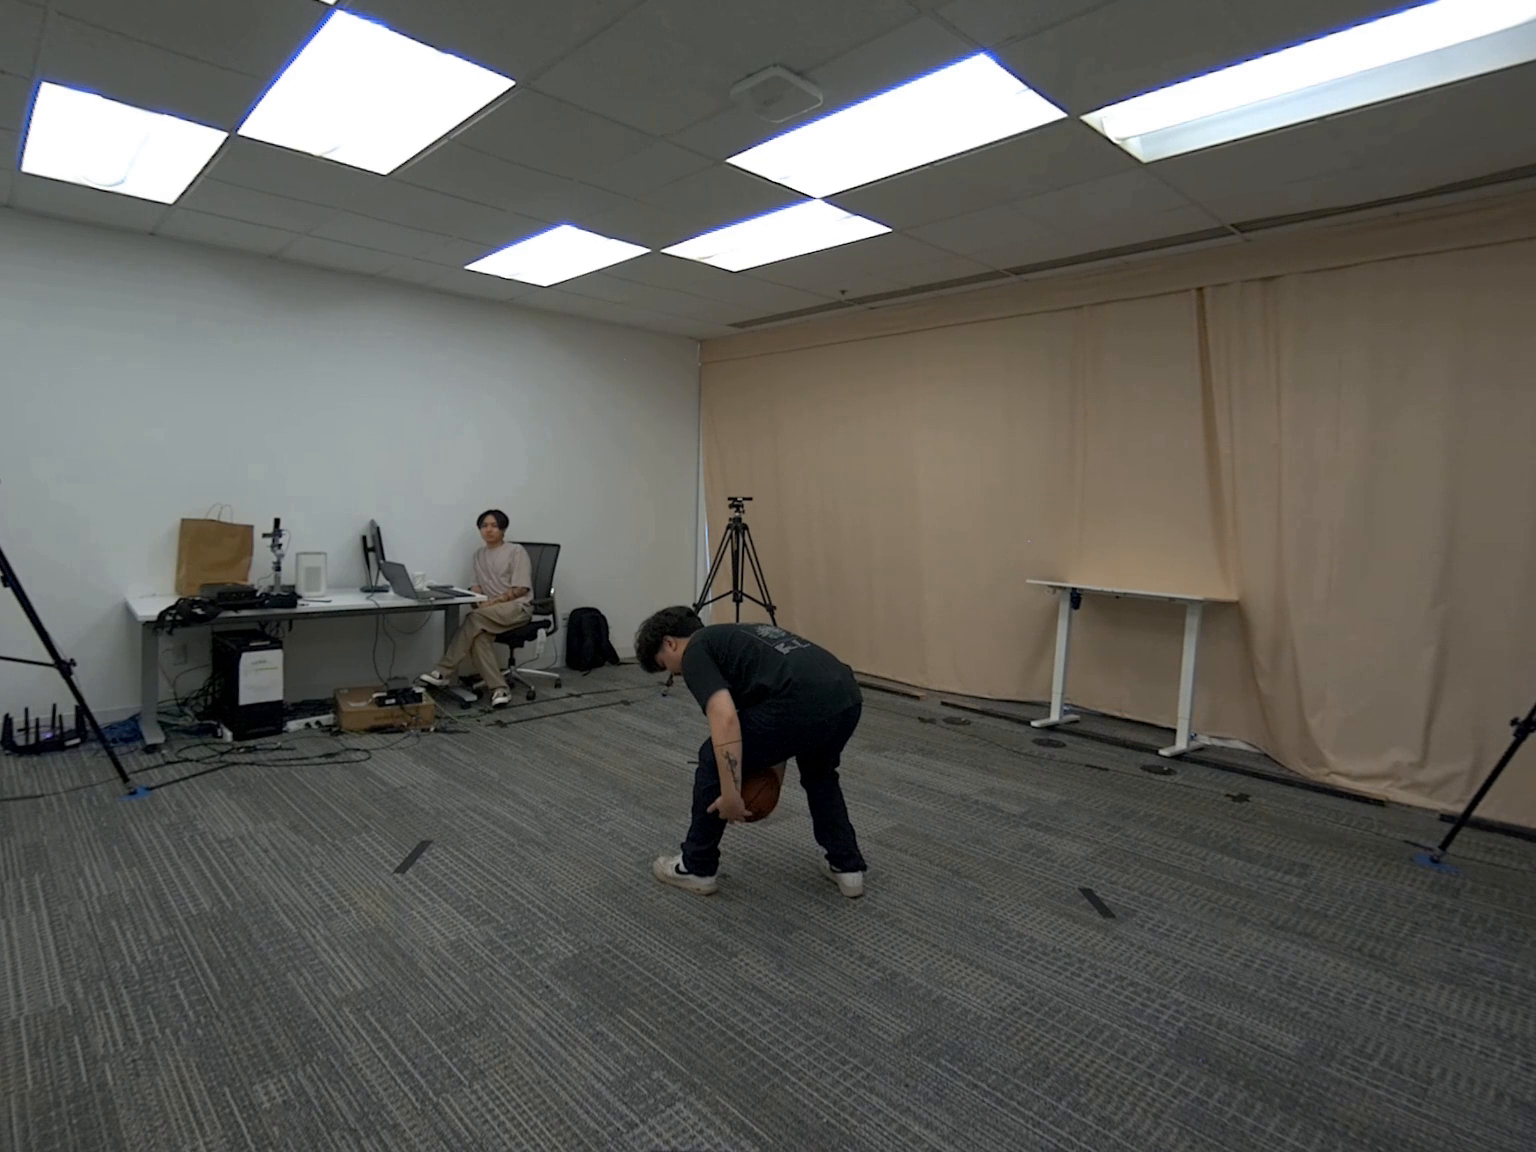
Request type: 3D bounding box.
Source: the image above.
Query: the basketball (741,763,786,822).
[{"bbox_3d":[-0.079,0.780,3.093,0.236,0.235,0.237,1,4,-1],"label":"basketball"}]
